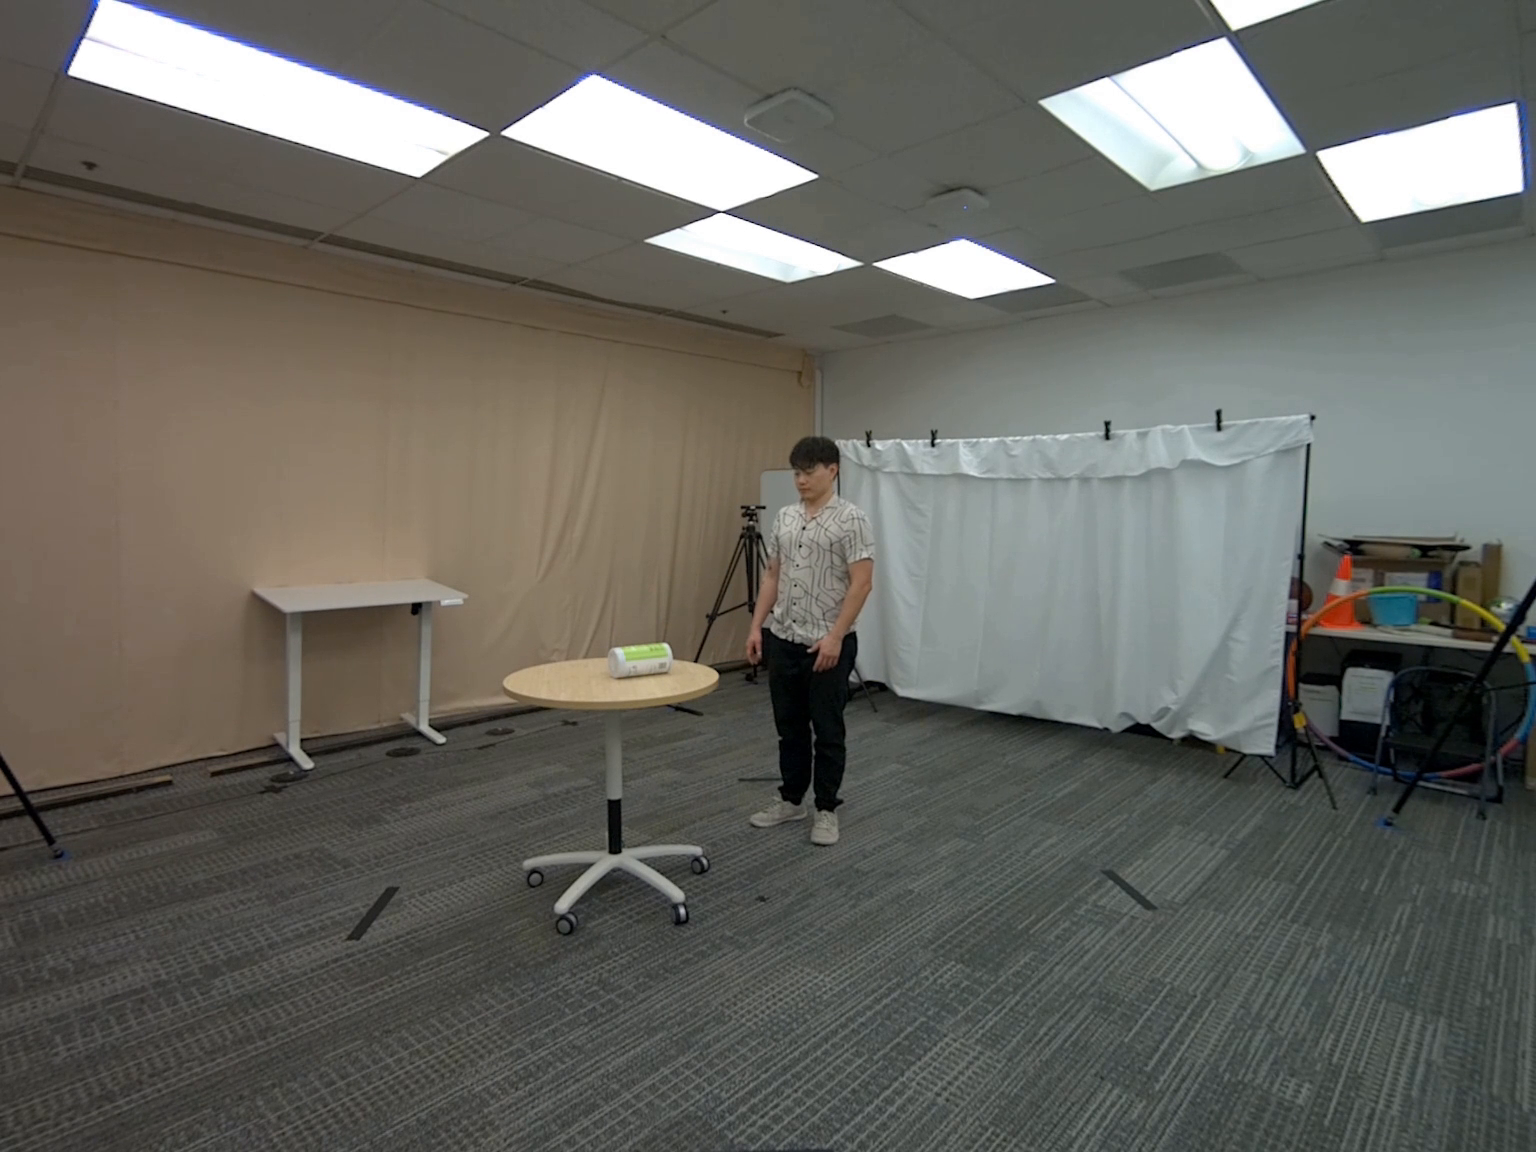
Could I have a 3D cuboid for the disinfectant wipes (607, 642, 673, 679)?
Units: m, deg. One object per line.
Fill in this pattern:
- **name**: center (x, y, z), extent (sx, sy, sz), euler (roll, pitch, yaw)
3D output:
- **disinfectant wipes**: center (-0.455, 0.302, 3.045), extent (0.212, 0.117, 0.121), euler (-4, 5, -29)
